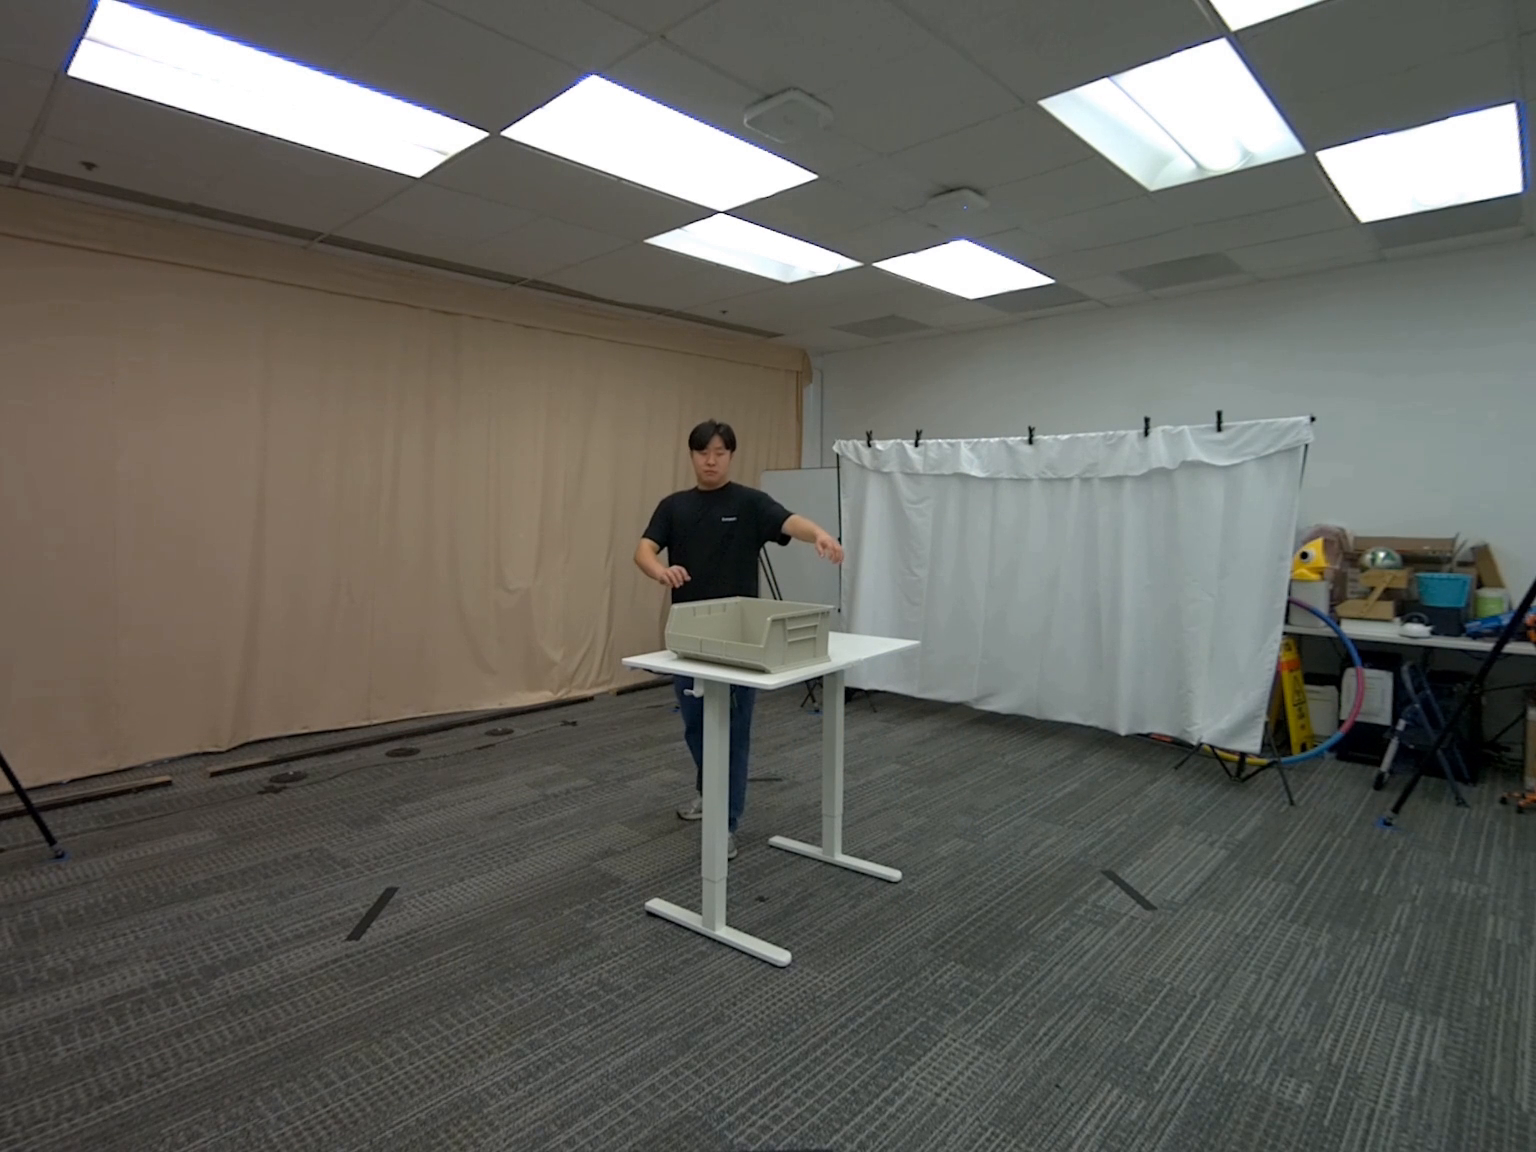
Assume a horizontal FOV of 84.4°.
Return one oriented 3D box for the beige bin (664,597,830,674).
[{"bbox_3d":[-0.055,0.191,2.765,0.436,0.189,0.365,4,4,41],"label":"beige bin"}]
